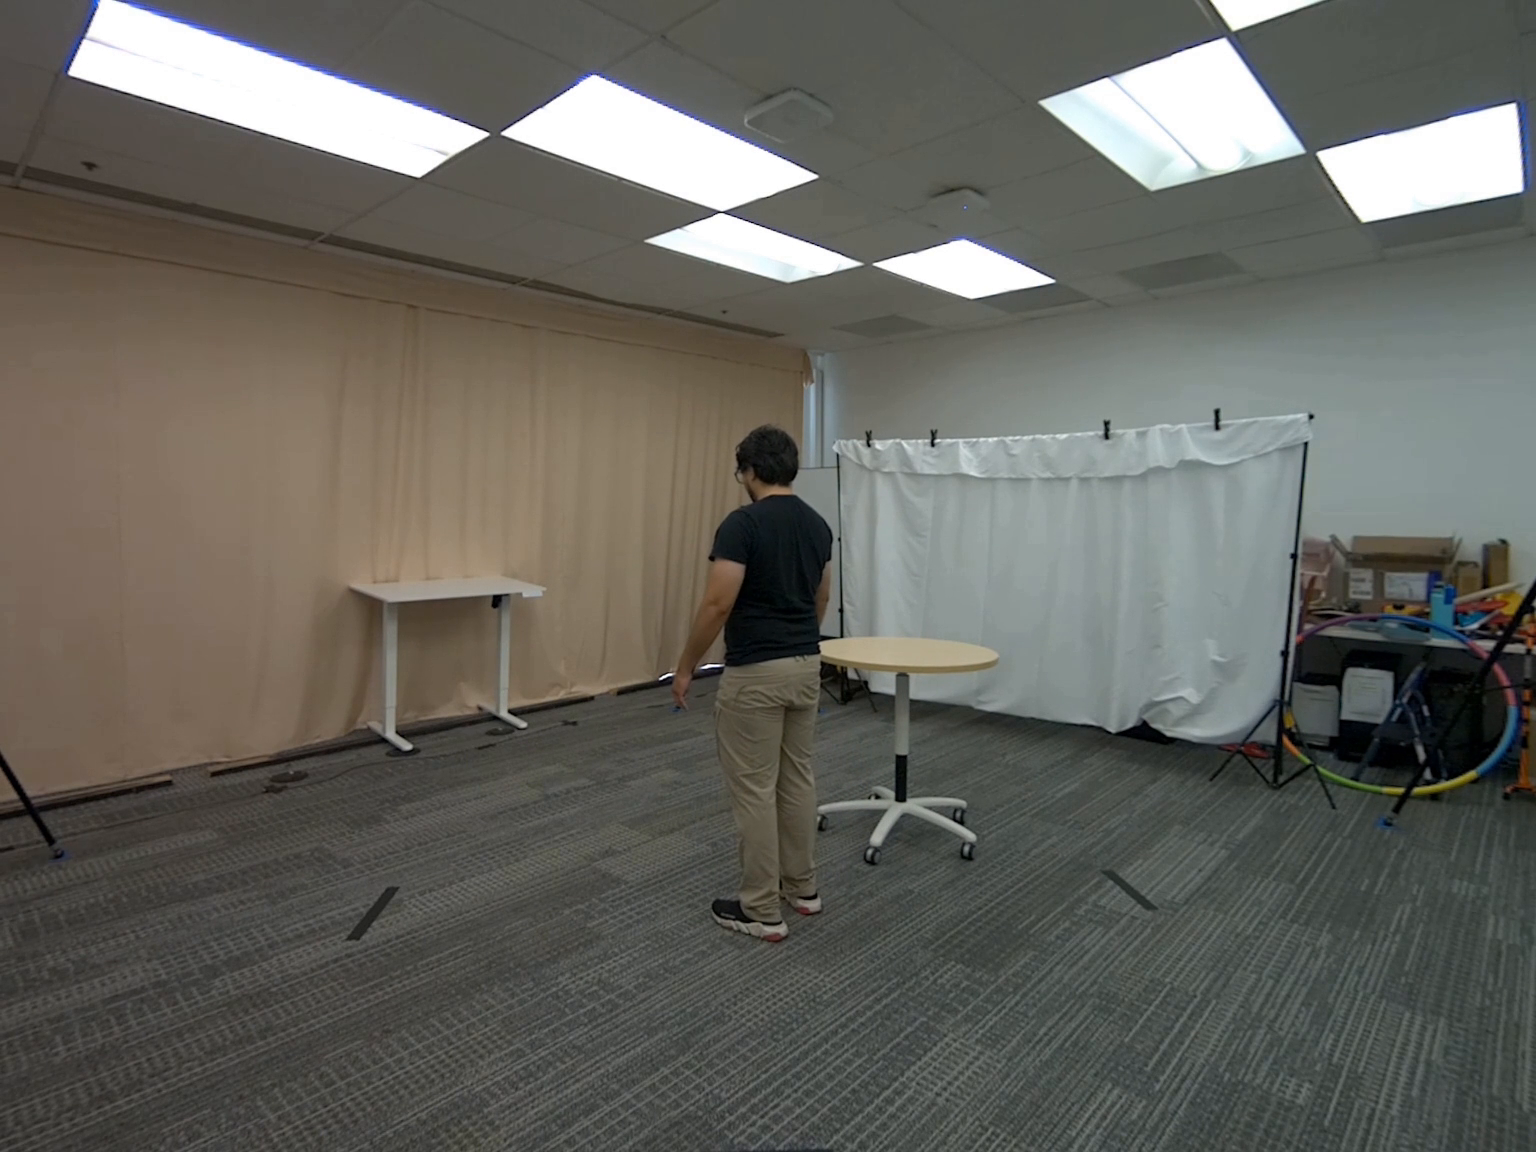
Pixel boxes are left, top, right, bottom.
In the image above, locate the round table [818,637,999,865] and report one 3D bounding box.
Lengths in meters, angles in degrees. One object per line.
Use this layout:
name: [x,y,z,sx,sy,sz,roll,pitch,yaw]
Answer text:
round table: [0.552,0.700,3.564,0.784,0.785,0.788,1,3,-2]
